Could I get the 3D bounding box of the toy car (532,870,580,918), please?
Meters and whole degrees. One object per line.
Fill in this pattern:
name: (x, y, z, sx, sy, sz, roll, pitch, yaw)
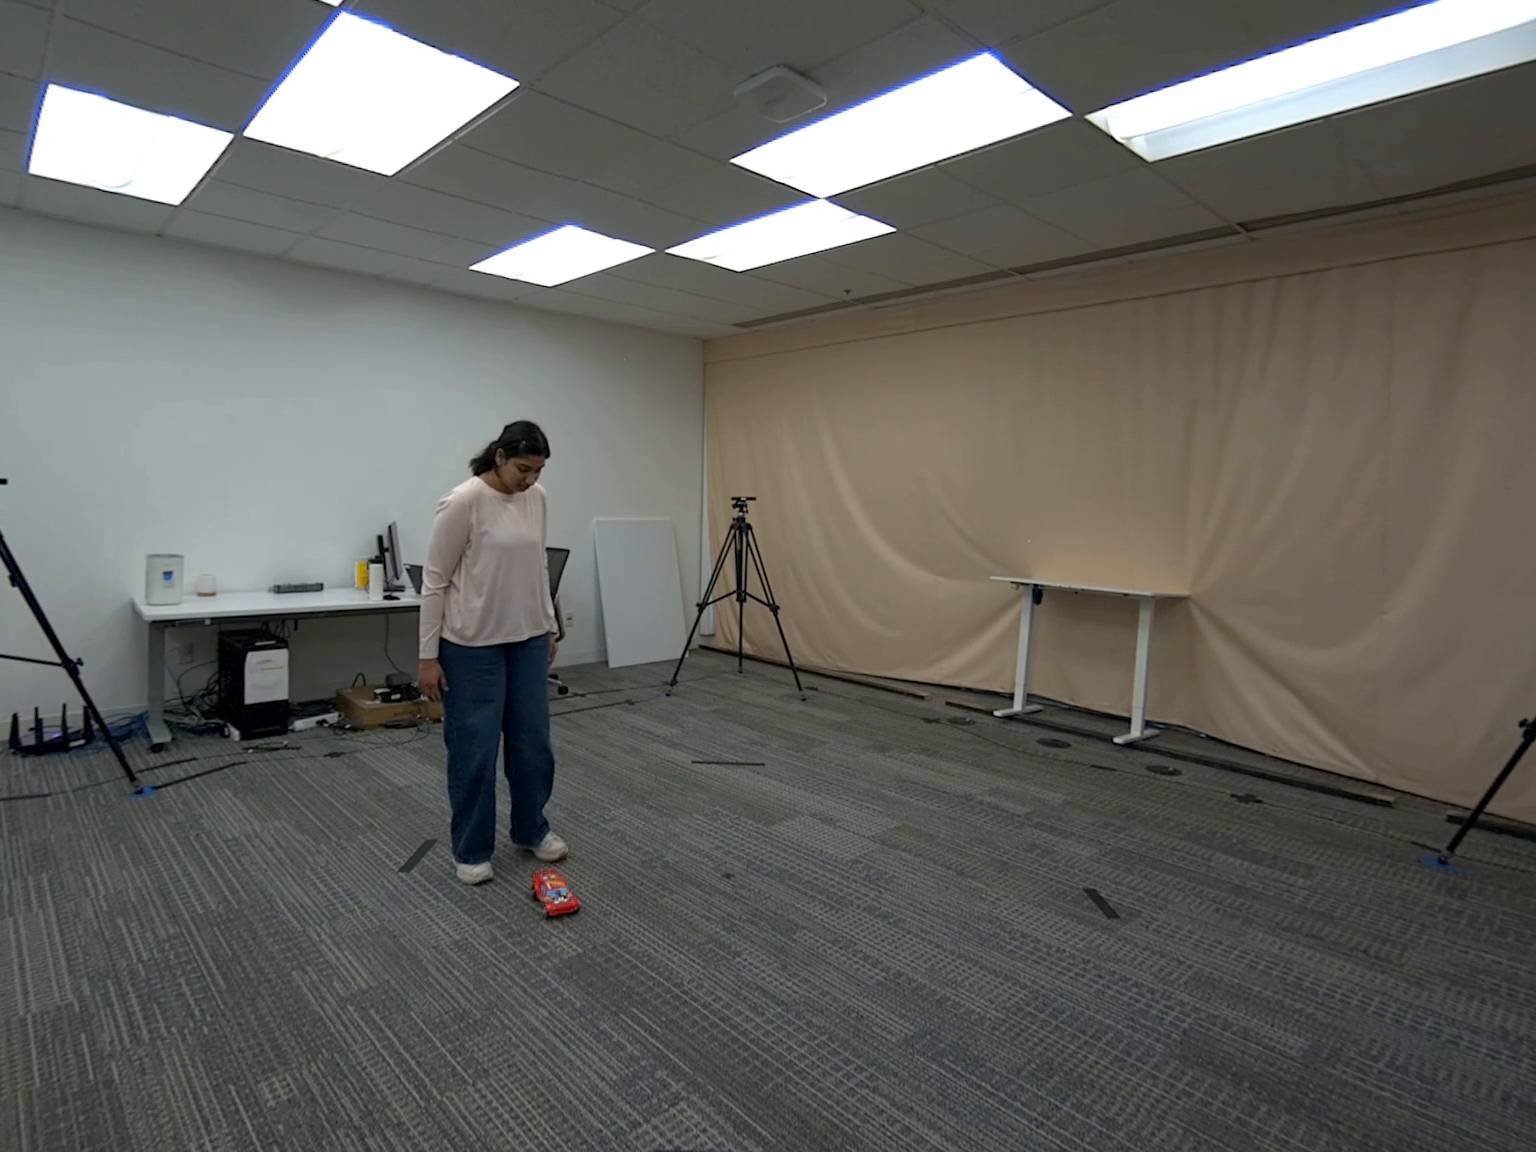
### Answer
toy car: (-0.739, 1.086, 2.866, 0.128, 0.082, 0.262, -1, 17, -27)
